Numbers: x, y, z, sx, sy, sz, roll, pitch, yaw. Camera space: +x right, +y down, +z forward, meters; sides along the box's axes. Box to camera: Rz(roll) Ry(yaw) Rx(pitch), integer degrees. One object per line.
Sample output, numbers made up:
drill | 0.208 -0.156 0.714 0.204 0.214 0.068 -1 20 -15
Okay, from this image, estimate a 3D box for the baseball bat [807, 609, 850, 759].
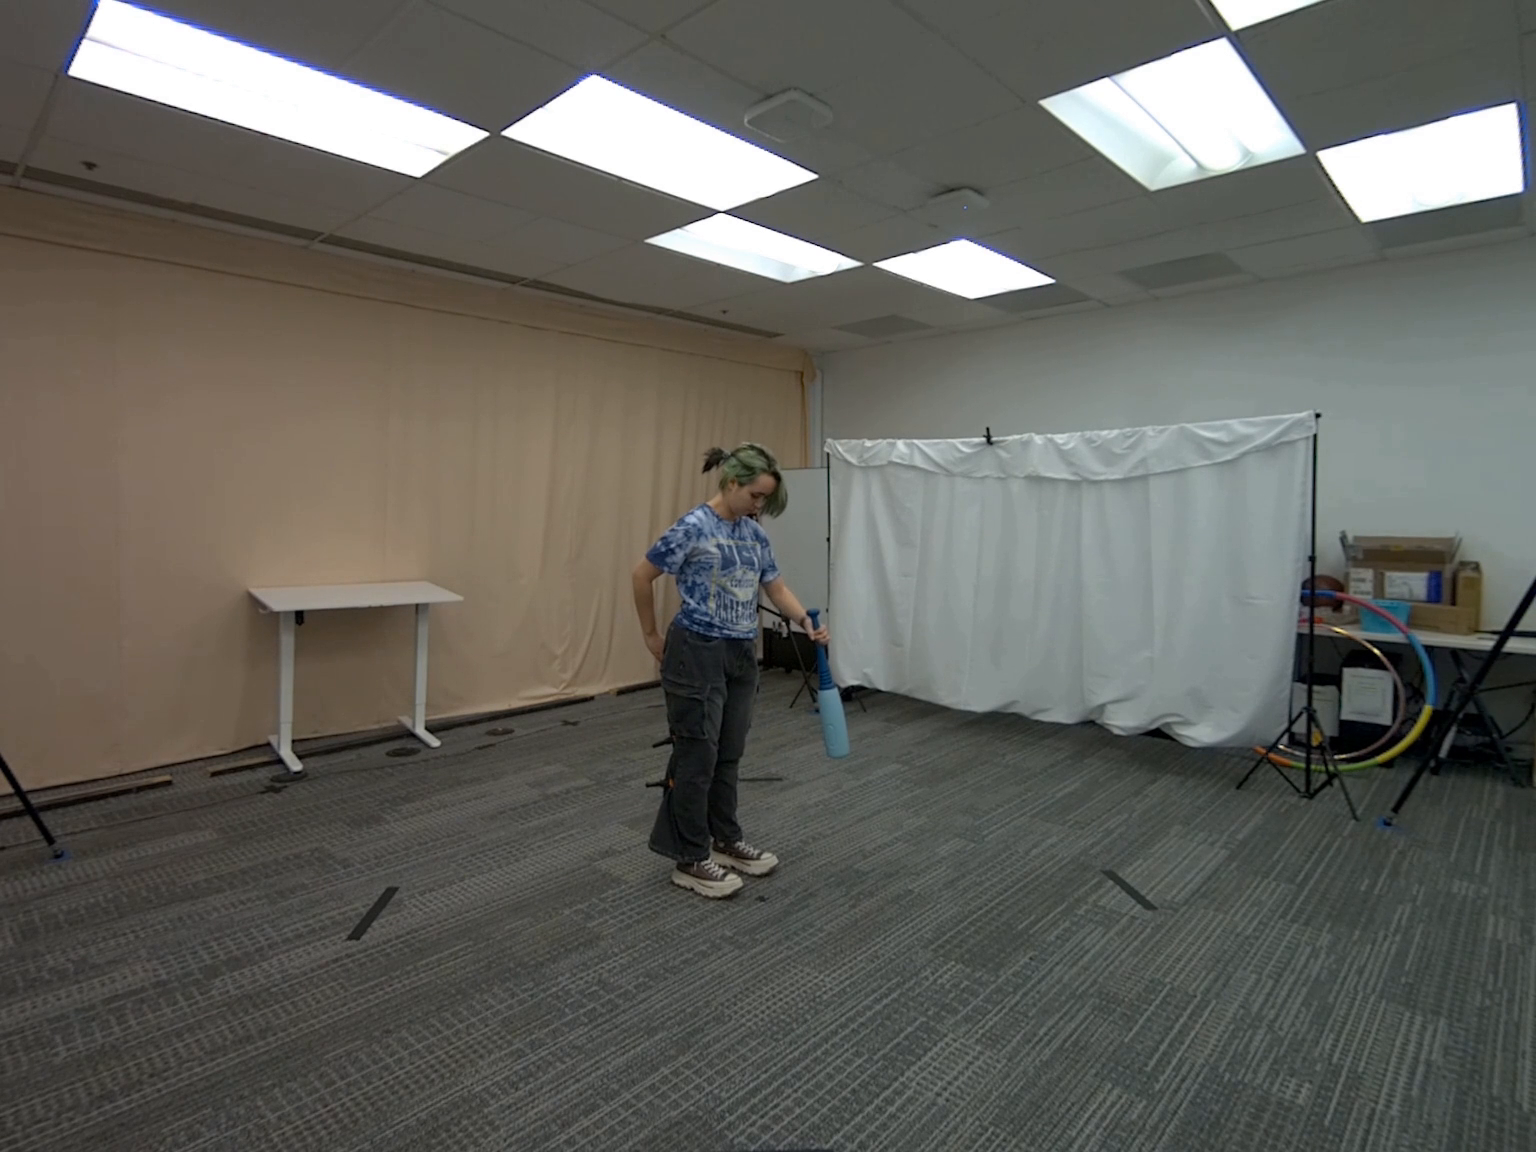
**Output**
baseball bat | 0.211 0.394 3.054 0.089 0.542 0.089 -10 1 -1
